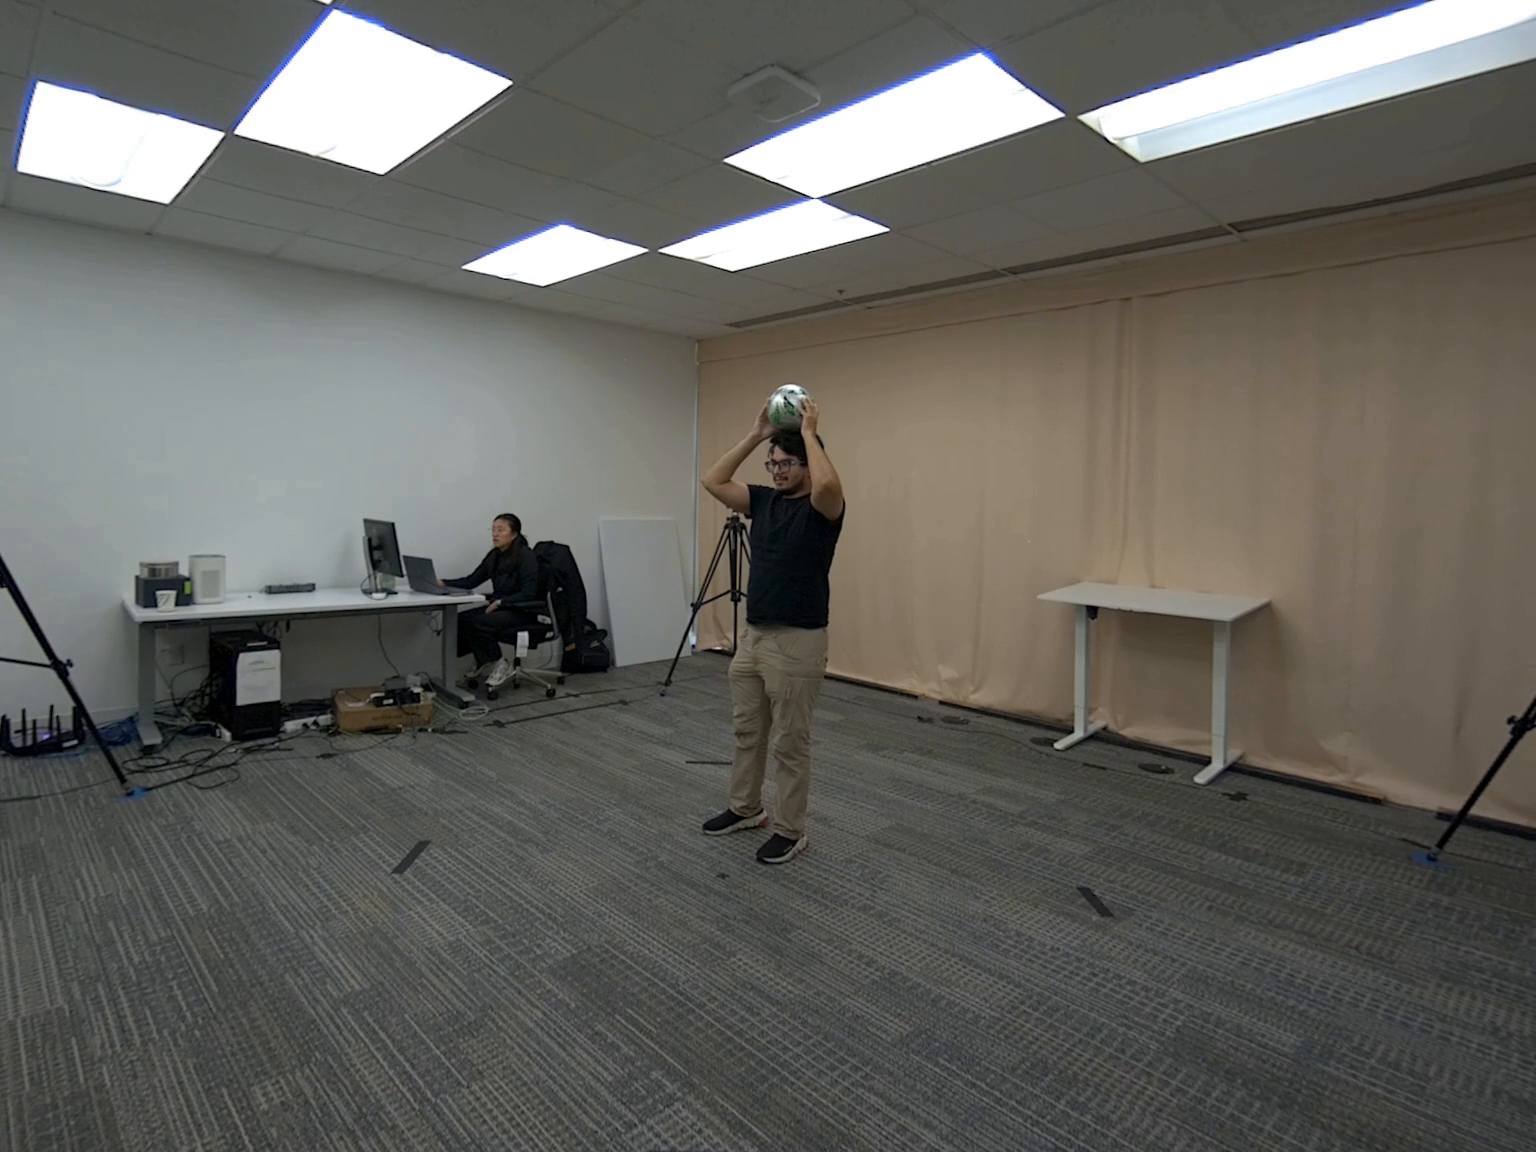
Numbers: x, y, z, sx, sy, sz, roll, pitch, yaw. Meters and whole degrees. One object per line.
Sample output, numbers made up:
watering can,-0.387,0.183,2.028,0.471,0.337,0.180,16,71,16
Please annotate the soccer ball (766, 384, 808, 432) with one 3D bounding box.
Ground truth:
soccer ball,0.079,-0.636,3.217,0.187,0.187,0.188,1,4,-1
